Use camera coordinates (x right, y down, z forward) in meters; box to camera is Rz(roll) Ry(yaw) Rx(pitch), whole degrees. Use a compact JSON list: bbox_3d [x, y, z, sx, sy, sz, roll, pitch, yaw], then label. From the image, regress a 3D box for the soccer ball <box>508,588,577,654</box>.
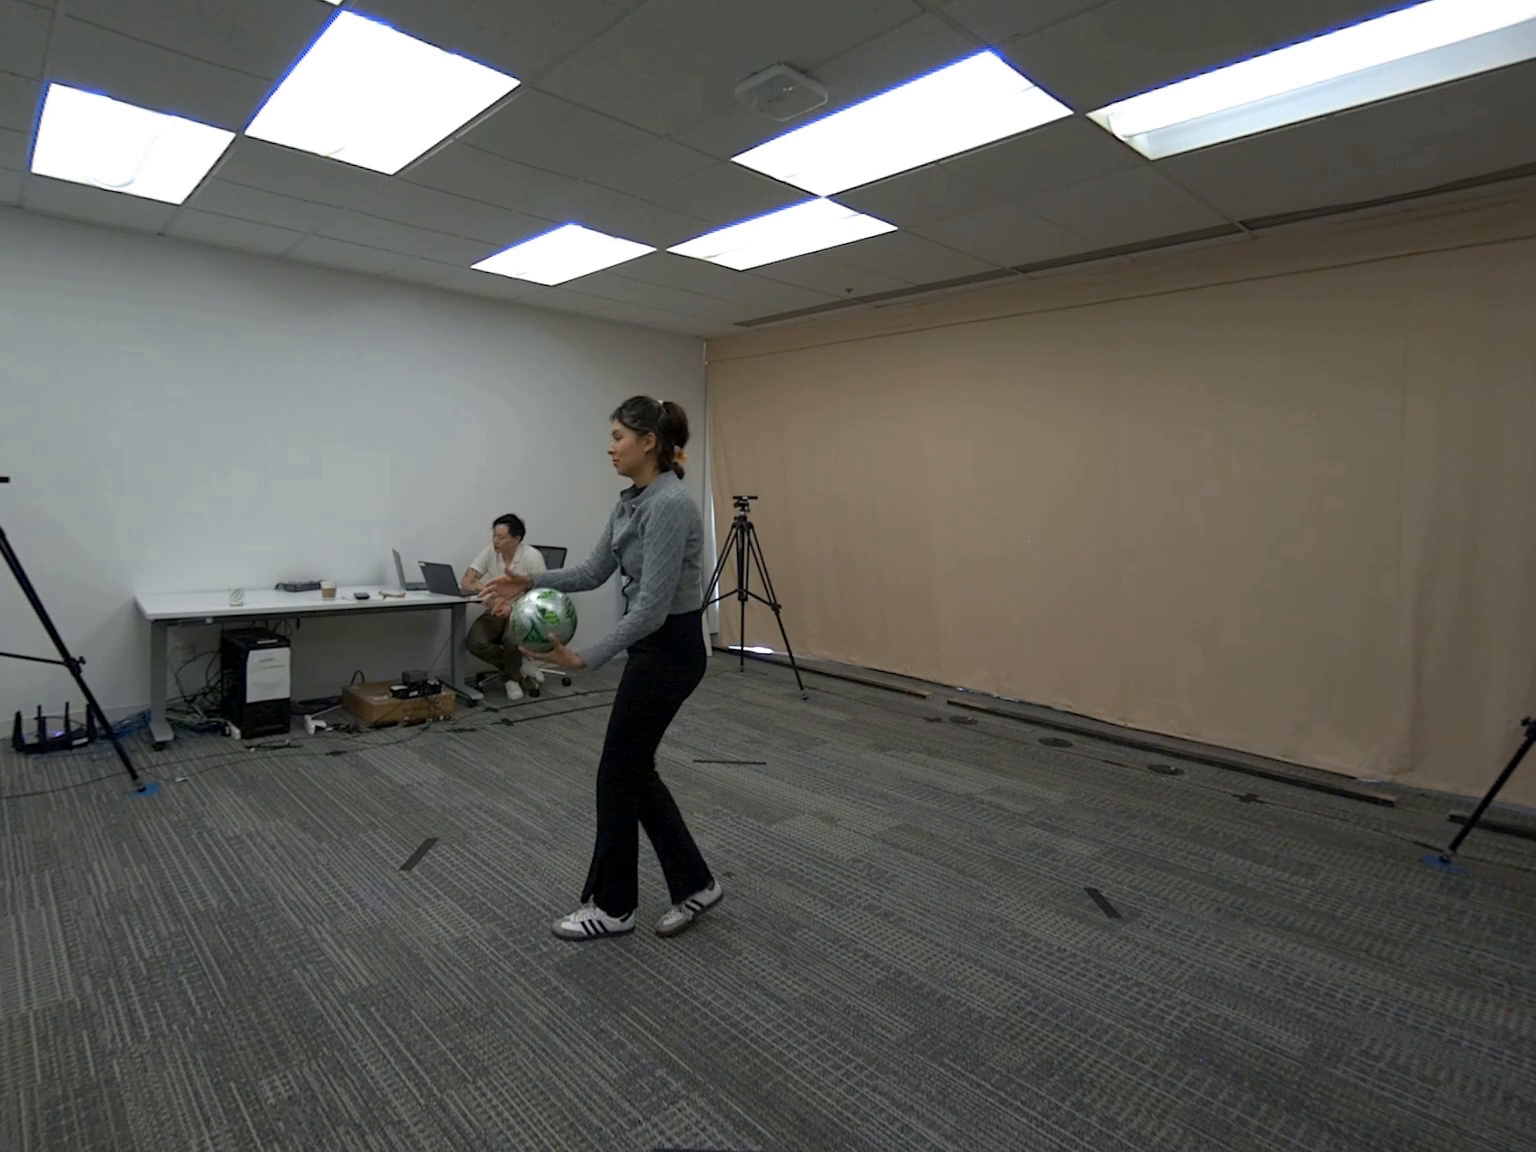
[{"bbox_3d":[-0.637,0.117,2.388,0.187,0.187,0.188,1,4,-1],"label":"soccer ball"}]
